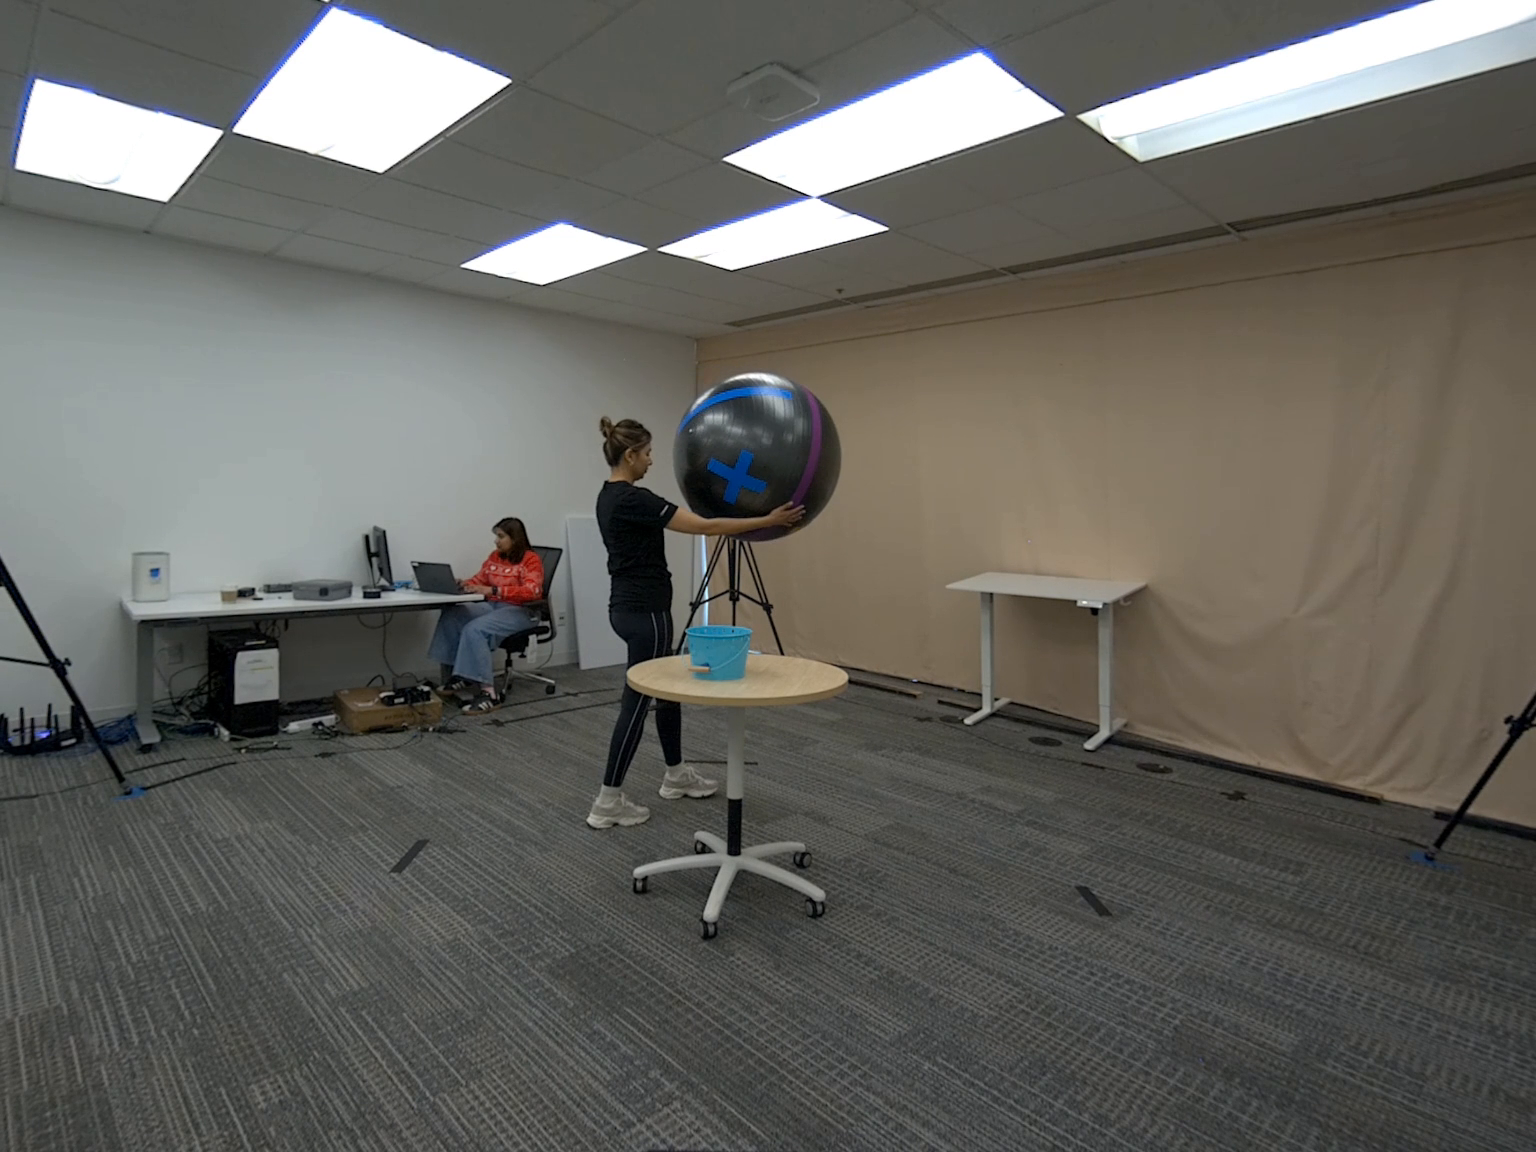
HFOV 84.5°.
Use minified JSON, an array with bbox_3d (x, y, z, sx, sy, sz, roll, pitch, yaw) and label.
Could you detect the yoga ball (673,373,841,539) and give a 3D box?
[{"bbox_3d":[-0.053,-0.531,3.794,0.757,0.756,0.761,1,4,-1],"label":"yoga ball"}]
